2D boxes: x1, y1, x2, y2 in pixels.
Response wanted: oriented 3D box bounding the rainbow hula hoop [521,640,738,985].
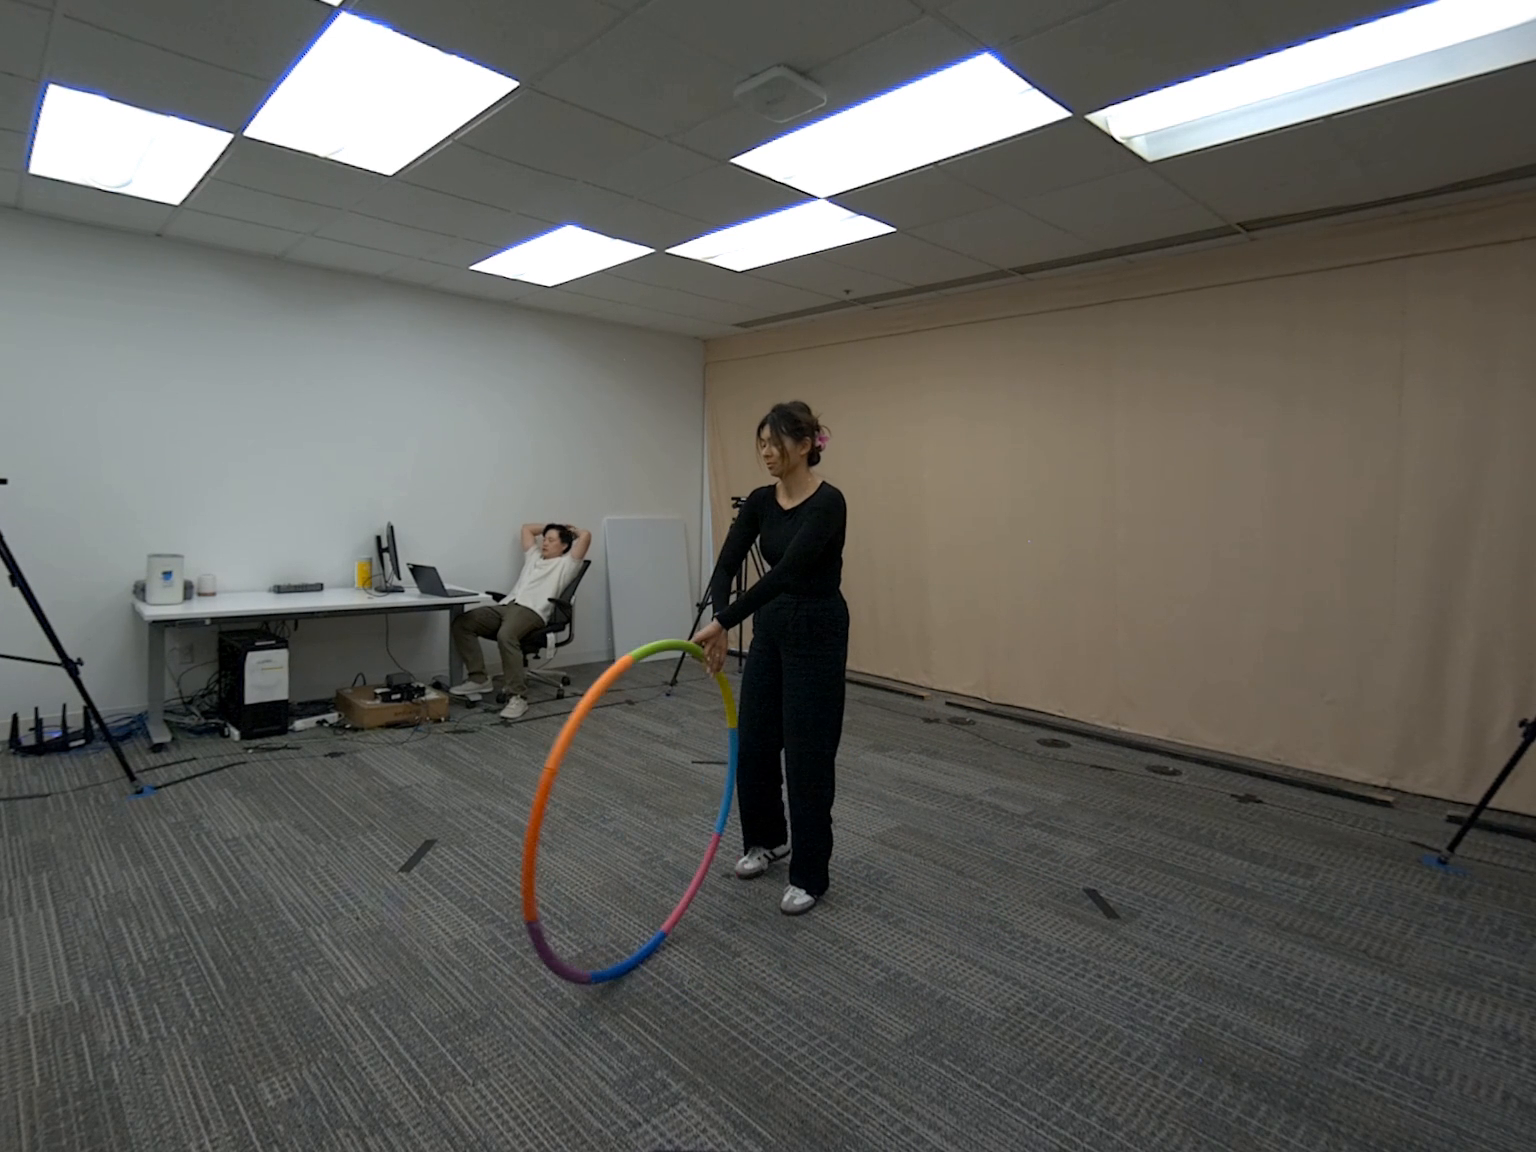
[{"bbox_3d":[-0.355,0.679,2.457,0.036,0.975,0.960,9,7,28],"label":"rainbow hula hoop"}]
